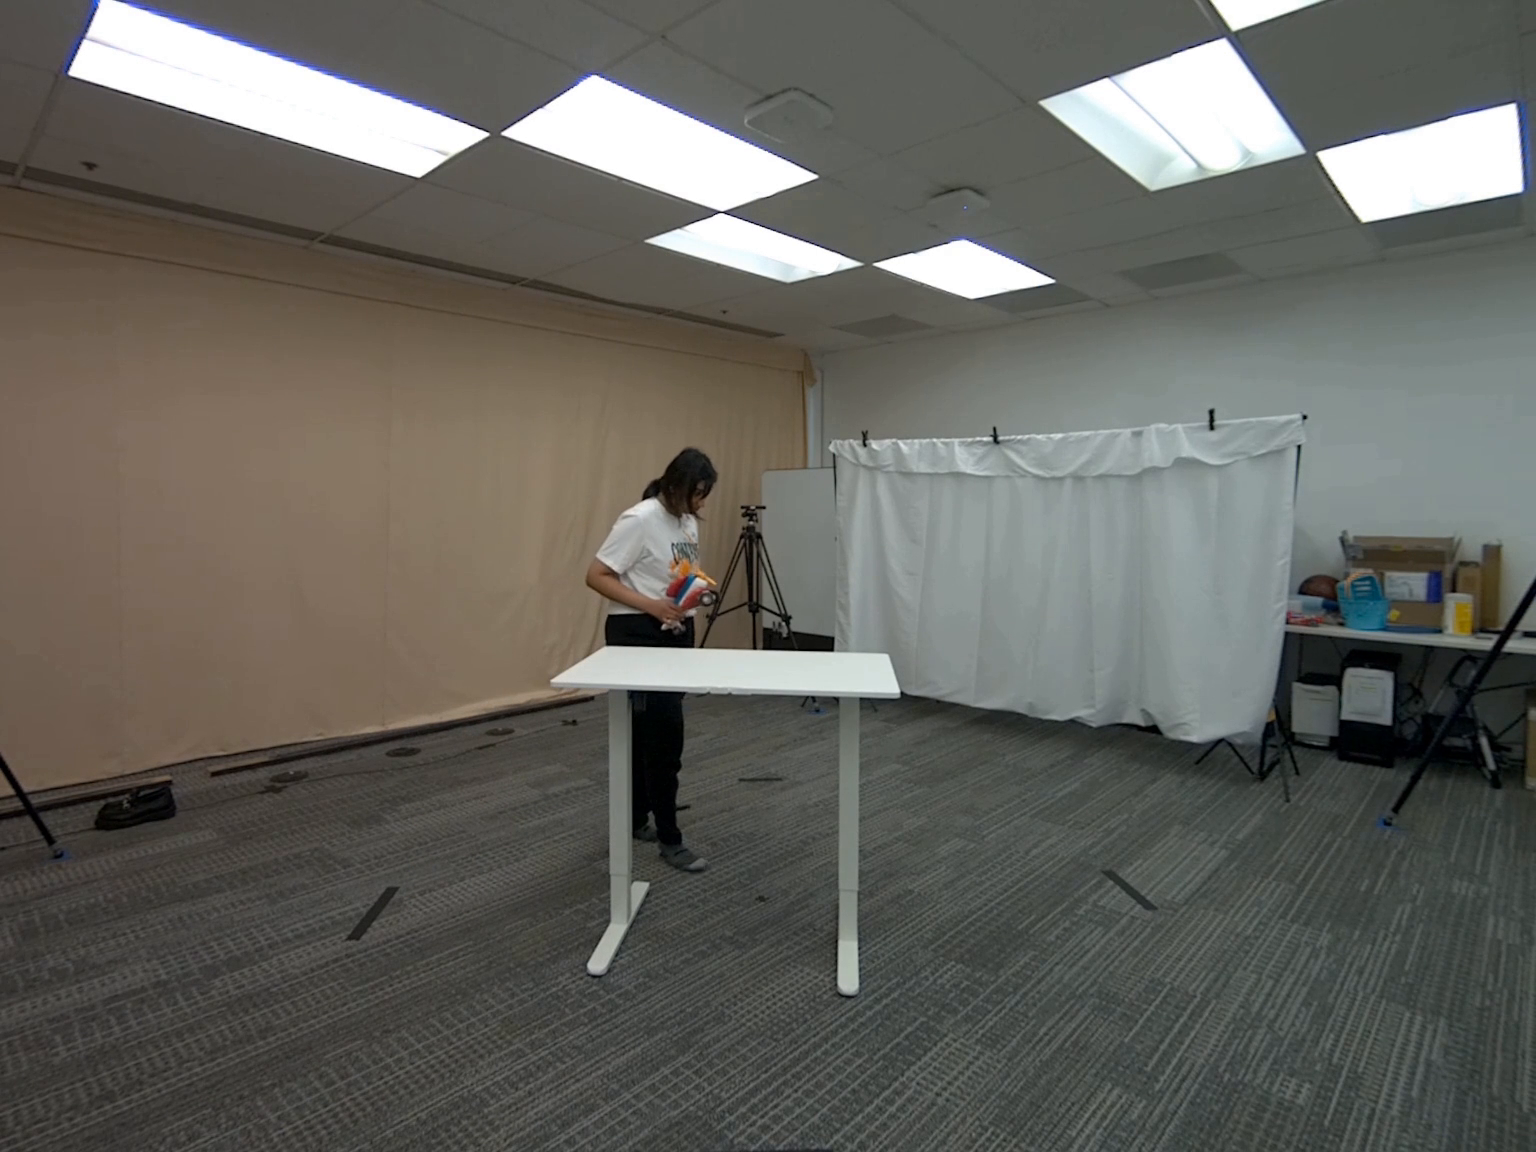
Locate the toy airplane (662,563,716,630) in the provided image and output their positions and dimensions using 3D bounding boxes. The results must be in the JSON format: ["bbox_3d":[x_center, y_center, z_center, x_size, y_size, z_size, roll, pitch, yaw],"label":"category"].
[{"bbox_3d":[-0.311,0.096,3.175,0.257,0.158,0.250,-36,-8,-12],"label":"toy airplane"}]
